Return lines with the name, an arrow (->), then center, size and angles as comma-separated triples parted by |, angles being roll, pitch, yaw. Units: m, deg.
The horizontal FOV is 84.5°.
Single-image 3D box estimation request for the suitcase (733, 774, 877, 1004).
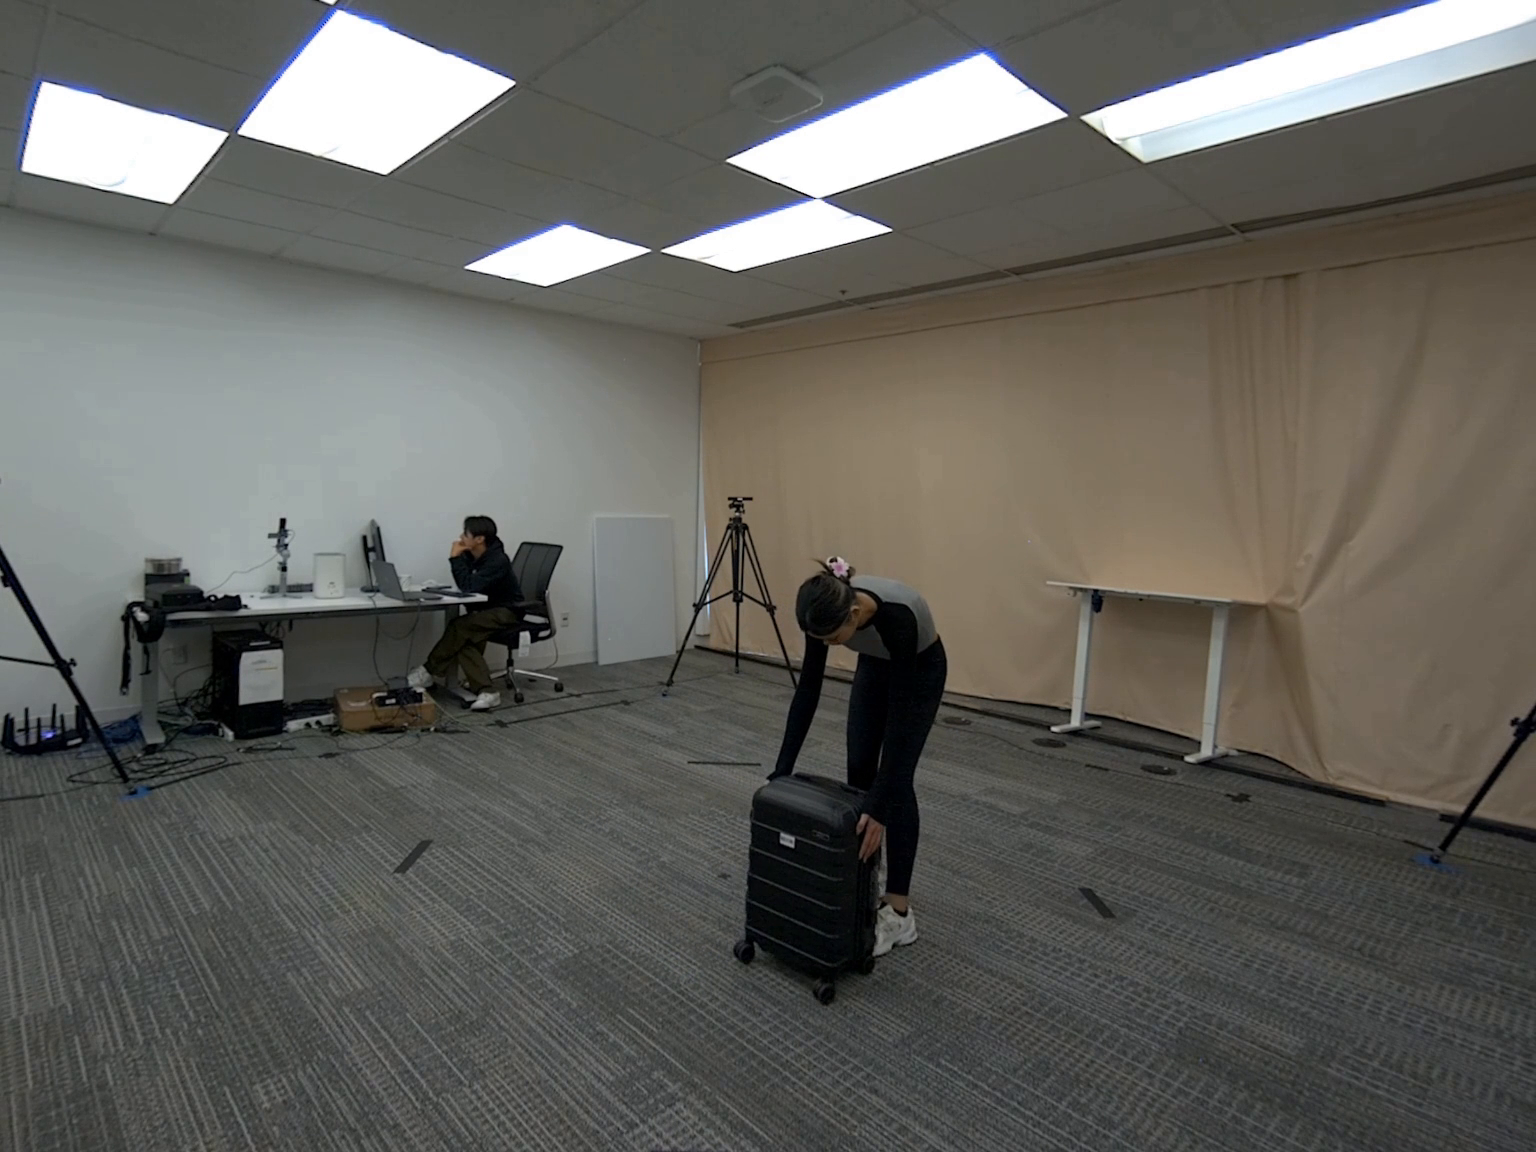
suitcase -> 0.128, 0.898, 2.505 | 0.385, 0.548, 0.242 | 6, 4, 40
